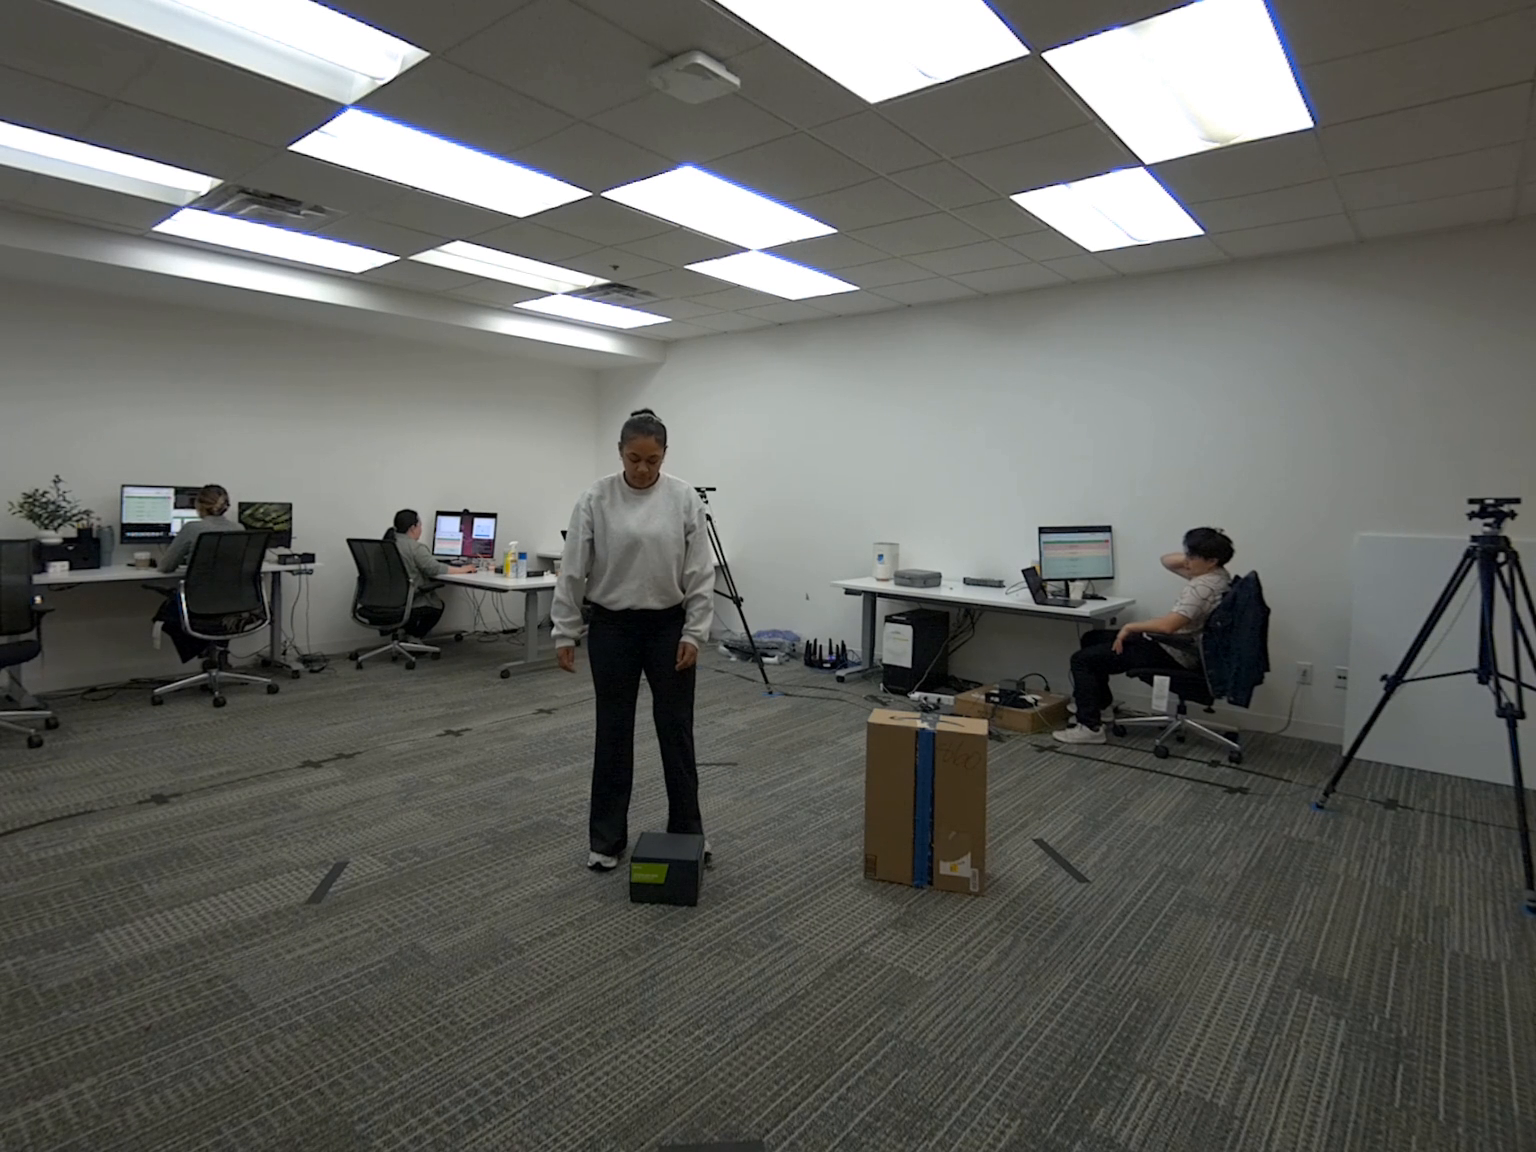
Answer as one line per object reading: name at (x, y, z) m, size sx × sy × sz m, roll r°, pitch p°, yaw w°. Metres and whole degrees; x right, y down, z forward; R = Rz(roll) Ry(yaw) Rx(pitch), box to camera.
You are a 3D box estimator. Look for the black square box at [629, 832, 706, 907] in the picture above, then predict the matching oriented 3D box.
black square box at (-0.355, 0.998, 2.933) m, size 0.229 × 0.155 × 0.217 m, roll 1°, pitch 4°, yaw 4°
